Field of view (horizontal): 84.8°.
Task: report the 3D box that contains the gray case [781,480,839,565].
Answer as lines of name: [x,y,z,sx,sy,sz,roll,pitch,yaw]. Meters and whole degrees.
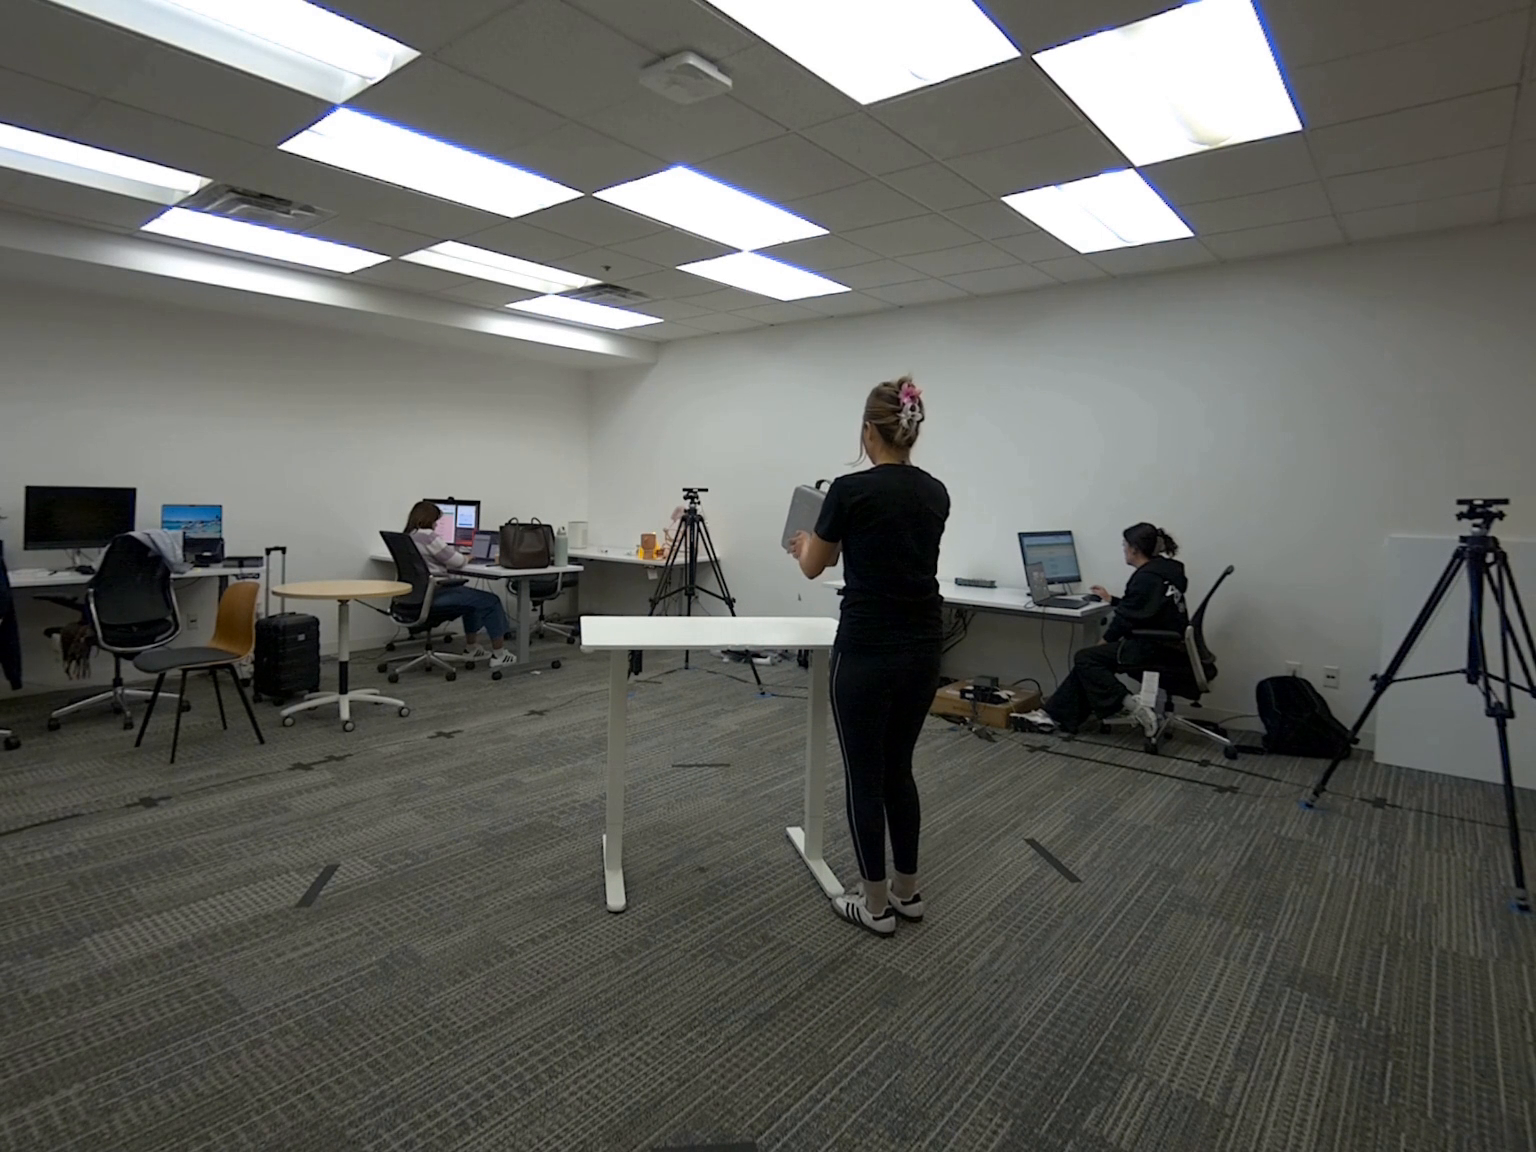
gray case: [0.168,-0.189,3.085,0.101,0.258,0.267,3,16,-31]
